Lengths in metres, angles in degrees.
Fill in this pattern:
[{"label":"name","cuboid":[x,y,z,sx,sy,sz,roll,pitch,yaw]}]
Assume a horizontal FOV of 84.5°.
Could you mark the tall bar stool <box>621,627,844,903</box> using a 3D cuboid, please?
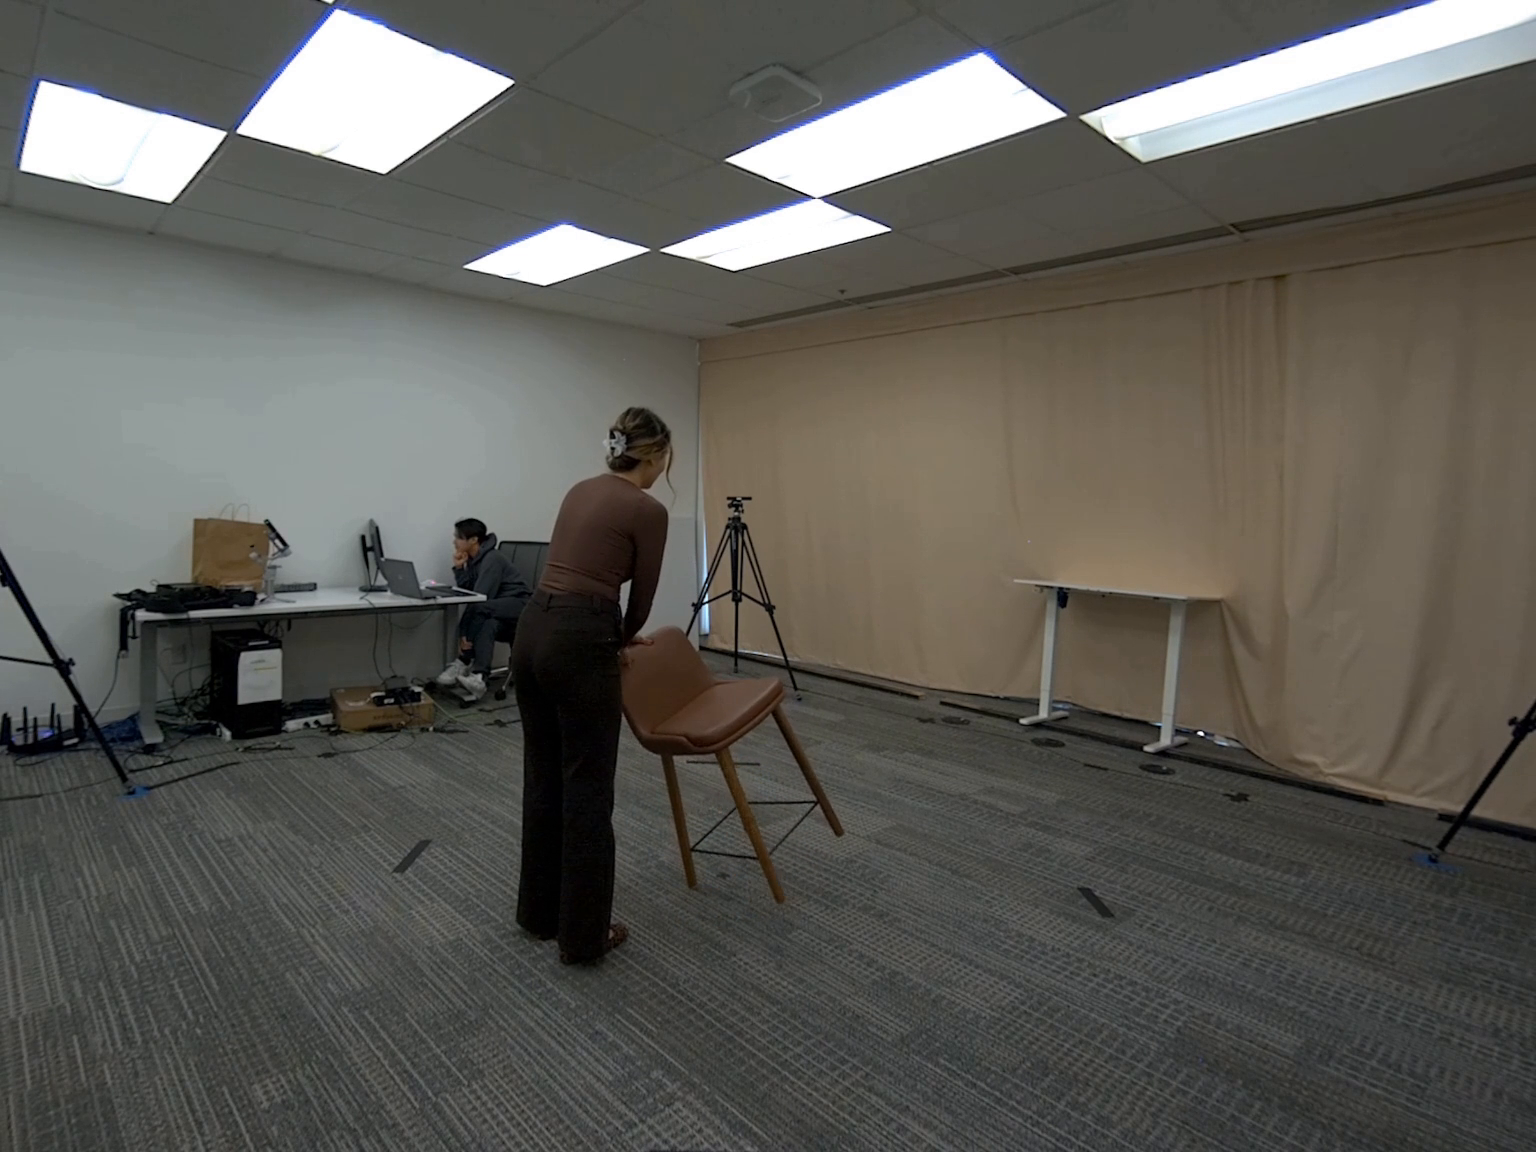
[{"label":"tall bar stool","cuboid":[-0.162,0.618,2.943,0.475,0.884,0.451,-15,9,41]}]
